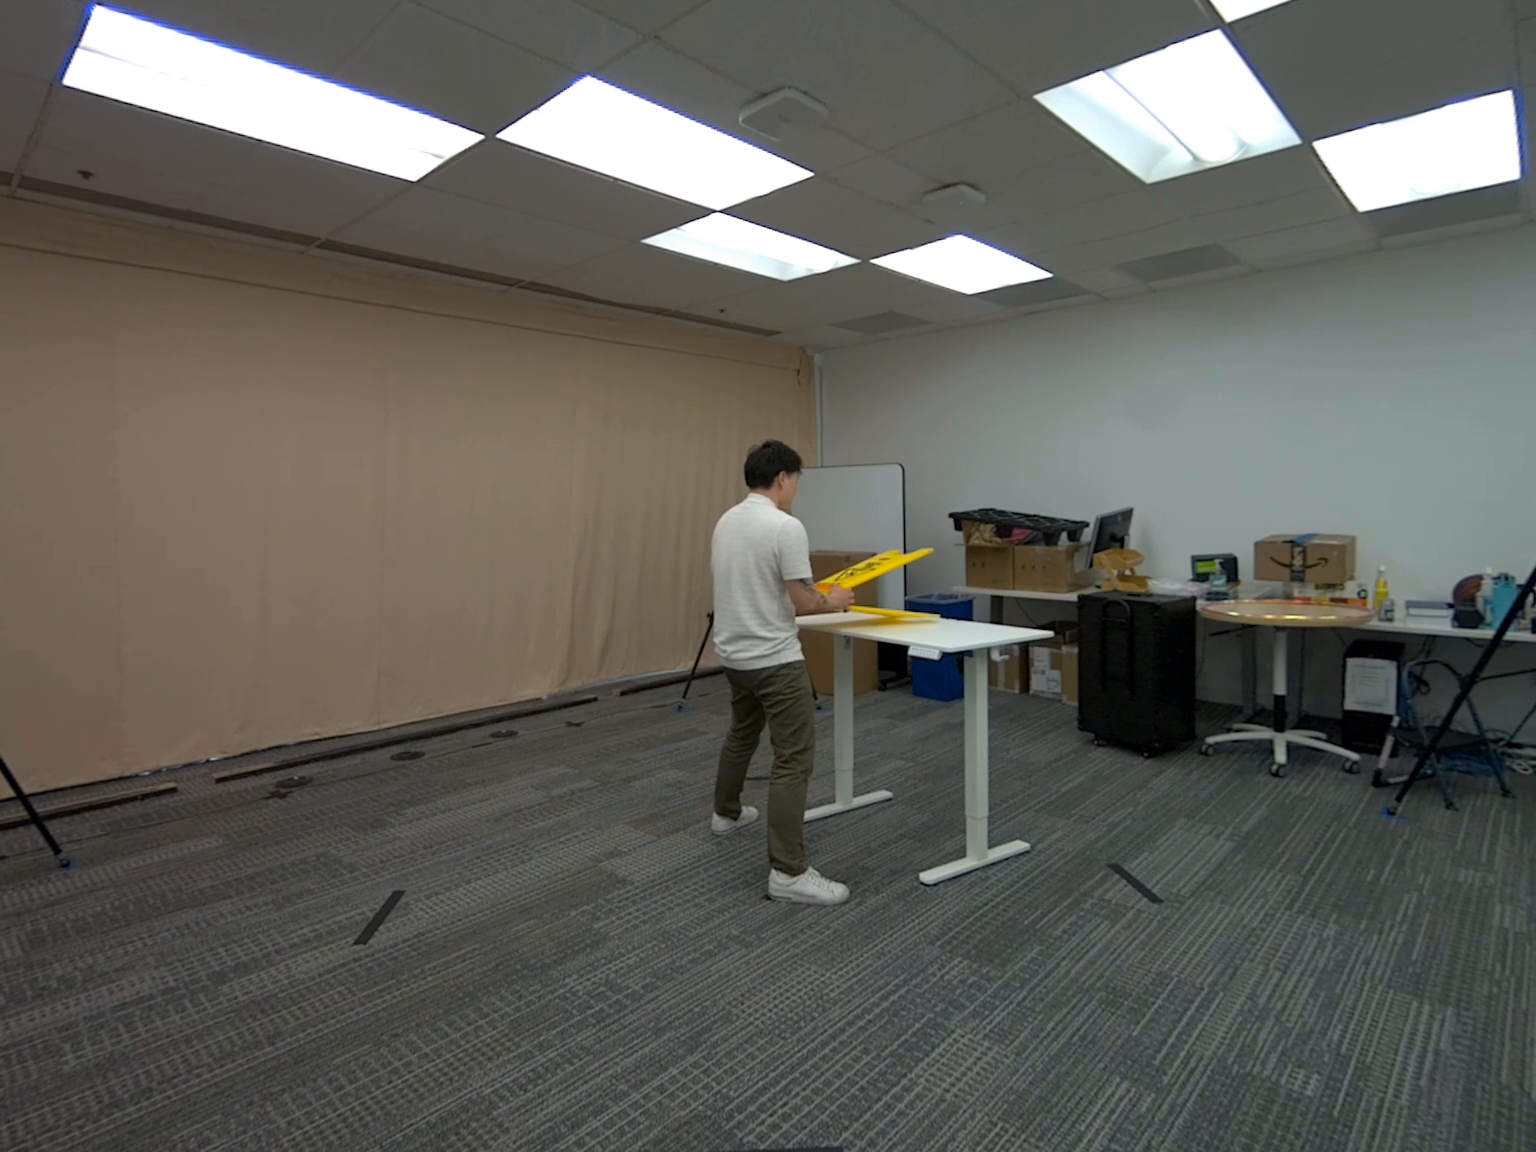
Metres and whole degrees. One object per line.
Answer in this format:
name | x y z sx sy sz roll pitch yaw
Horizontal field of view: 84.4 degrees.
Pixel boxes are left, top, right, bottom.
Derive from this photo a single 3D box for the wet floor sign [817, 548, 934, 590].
wet floor sign | 0.382 0.070 3.517 0.629 0.289 0.290 -6 2 -31
